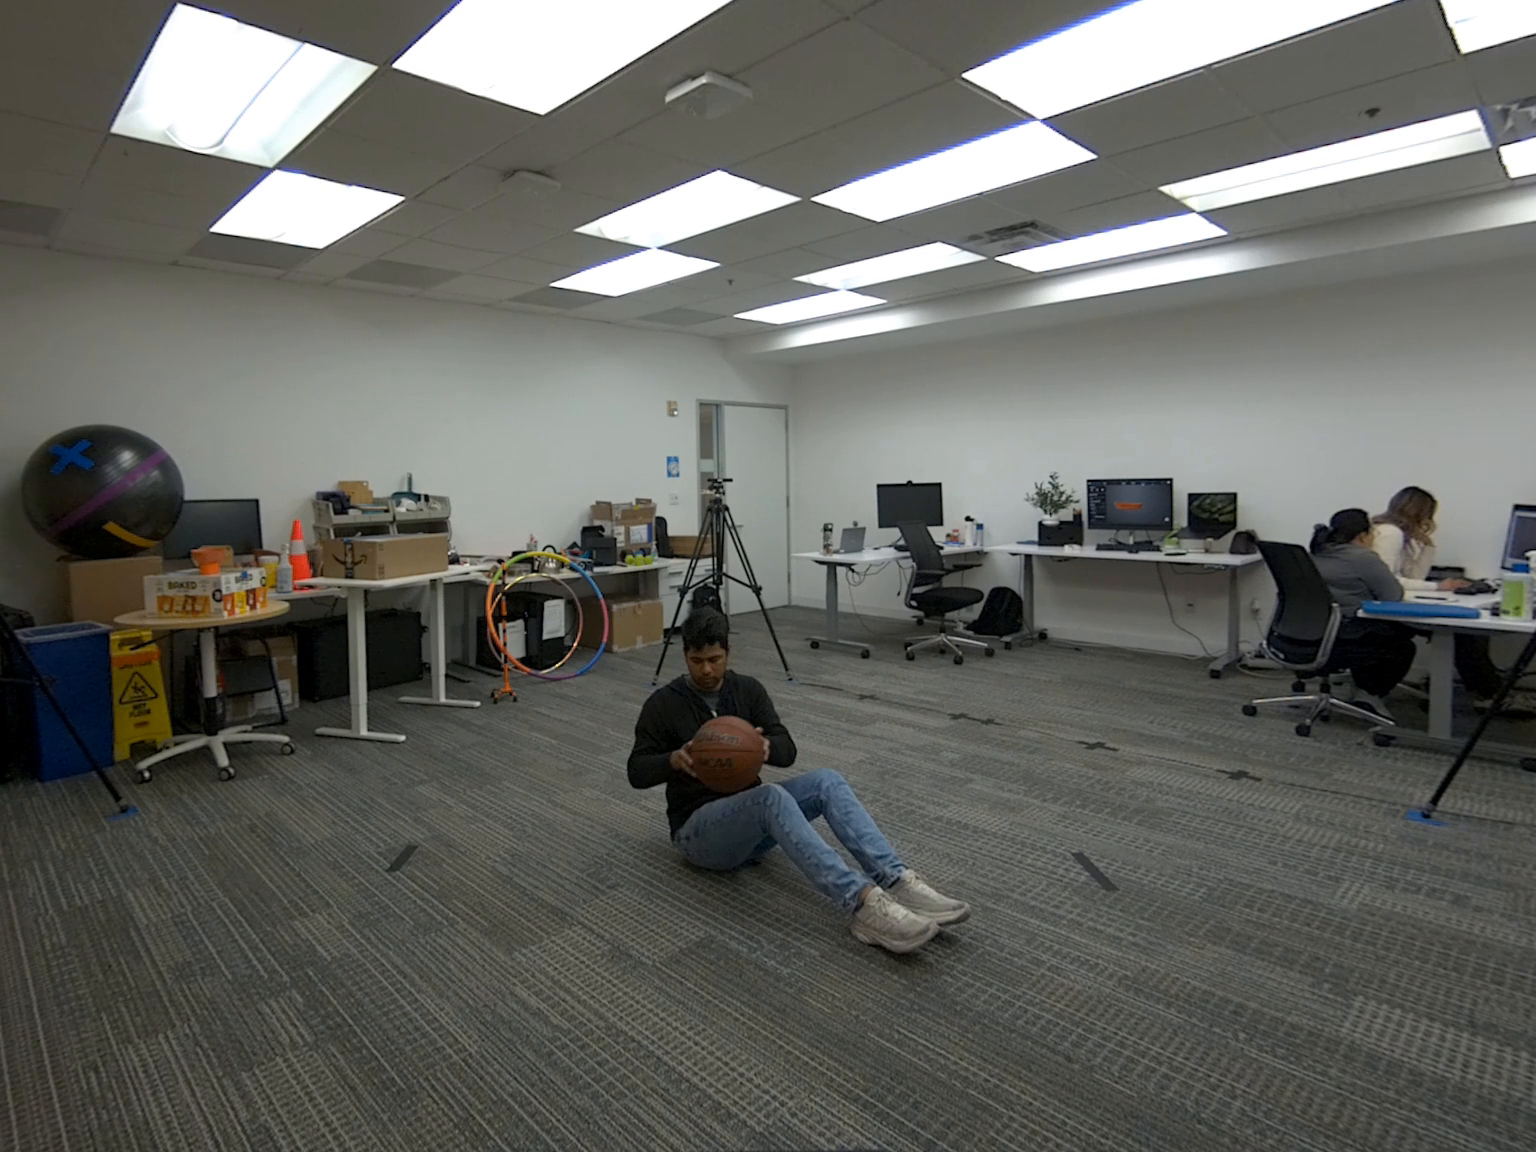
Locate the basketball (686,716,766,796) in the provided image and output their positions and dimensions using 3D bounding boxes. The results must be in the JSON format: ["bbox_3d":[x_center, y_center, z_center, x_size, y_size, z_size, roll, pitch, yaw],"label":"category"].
[{"bbox_3d":[-0.124,0.583,2.777,0.236,0.235,0.237,-1,5,-2],"label":"basketball"}]
